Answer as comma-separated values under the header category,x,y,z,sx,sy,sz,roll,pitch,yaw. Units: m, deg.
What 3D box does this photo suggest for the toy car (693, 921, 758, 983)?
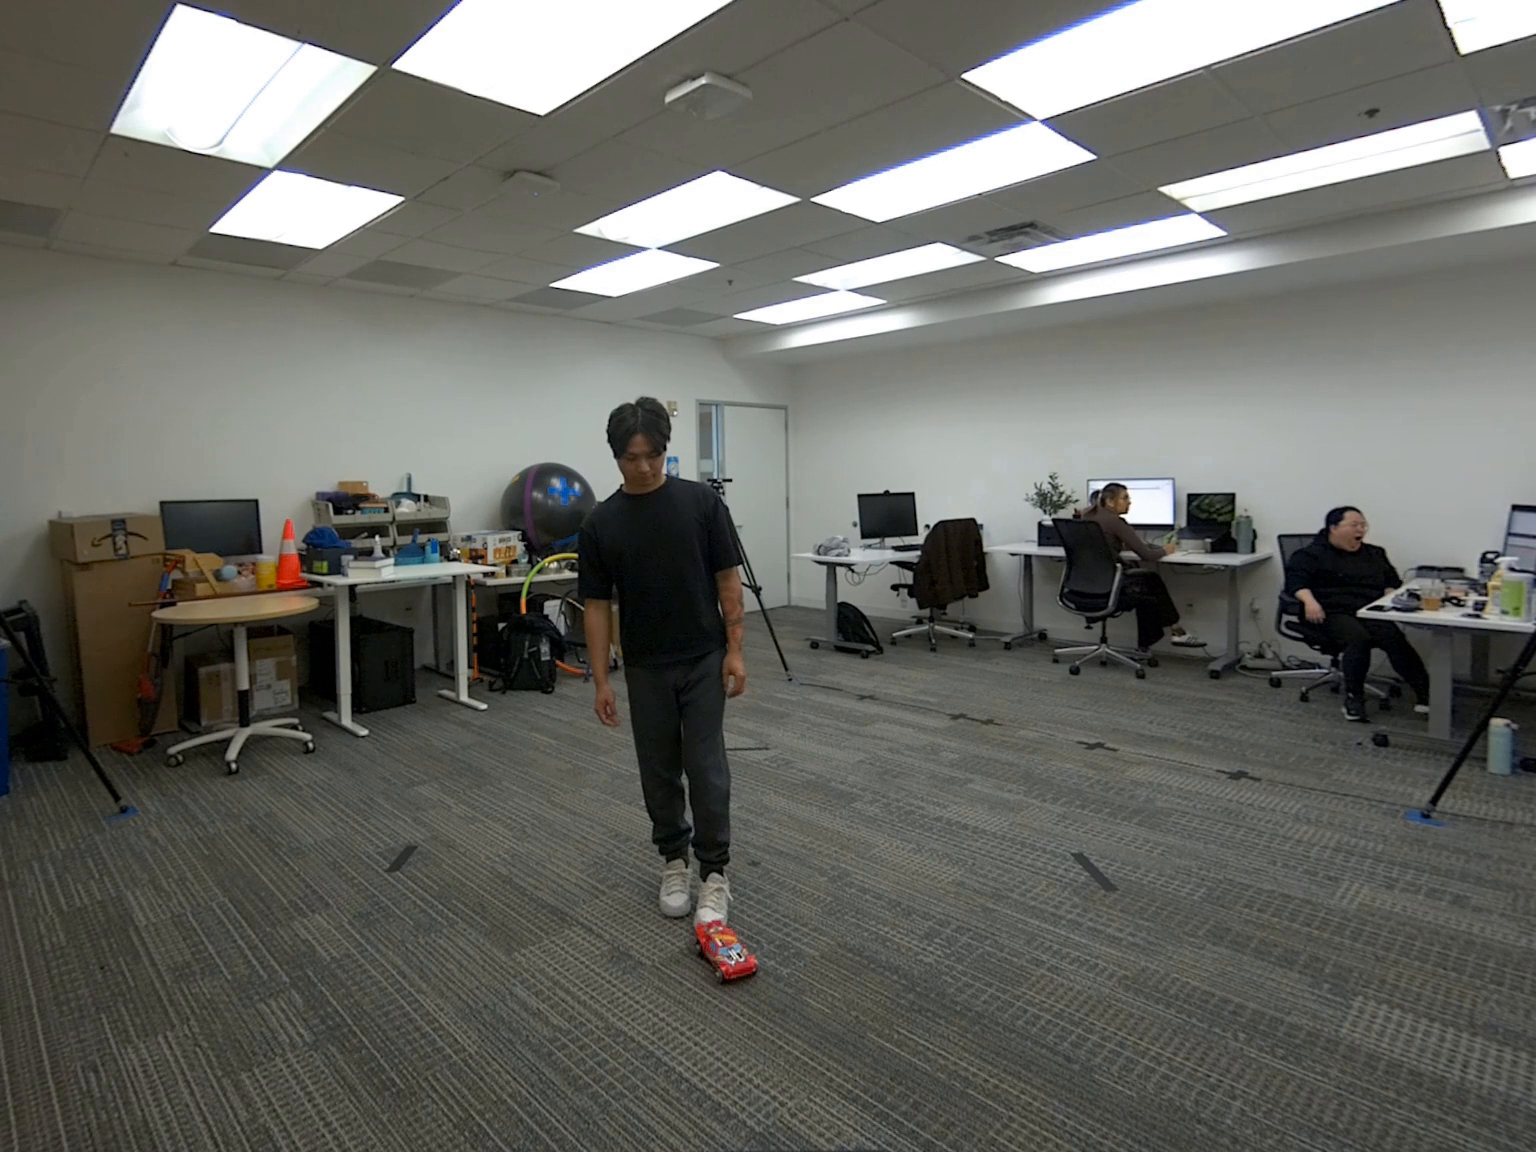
category,x,y,z,sx,sy,sz,roll,pitch,yaw
toy car,-0.126,1.090,2.480,0.128,0.082,0.263,-6,18,-24
